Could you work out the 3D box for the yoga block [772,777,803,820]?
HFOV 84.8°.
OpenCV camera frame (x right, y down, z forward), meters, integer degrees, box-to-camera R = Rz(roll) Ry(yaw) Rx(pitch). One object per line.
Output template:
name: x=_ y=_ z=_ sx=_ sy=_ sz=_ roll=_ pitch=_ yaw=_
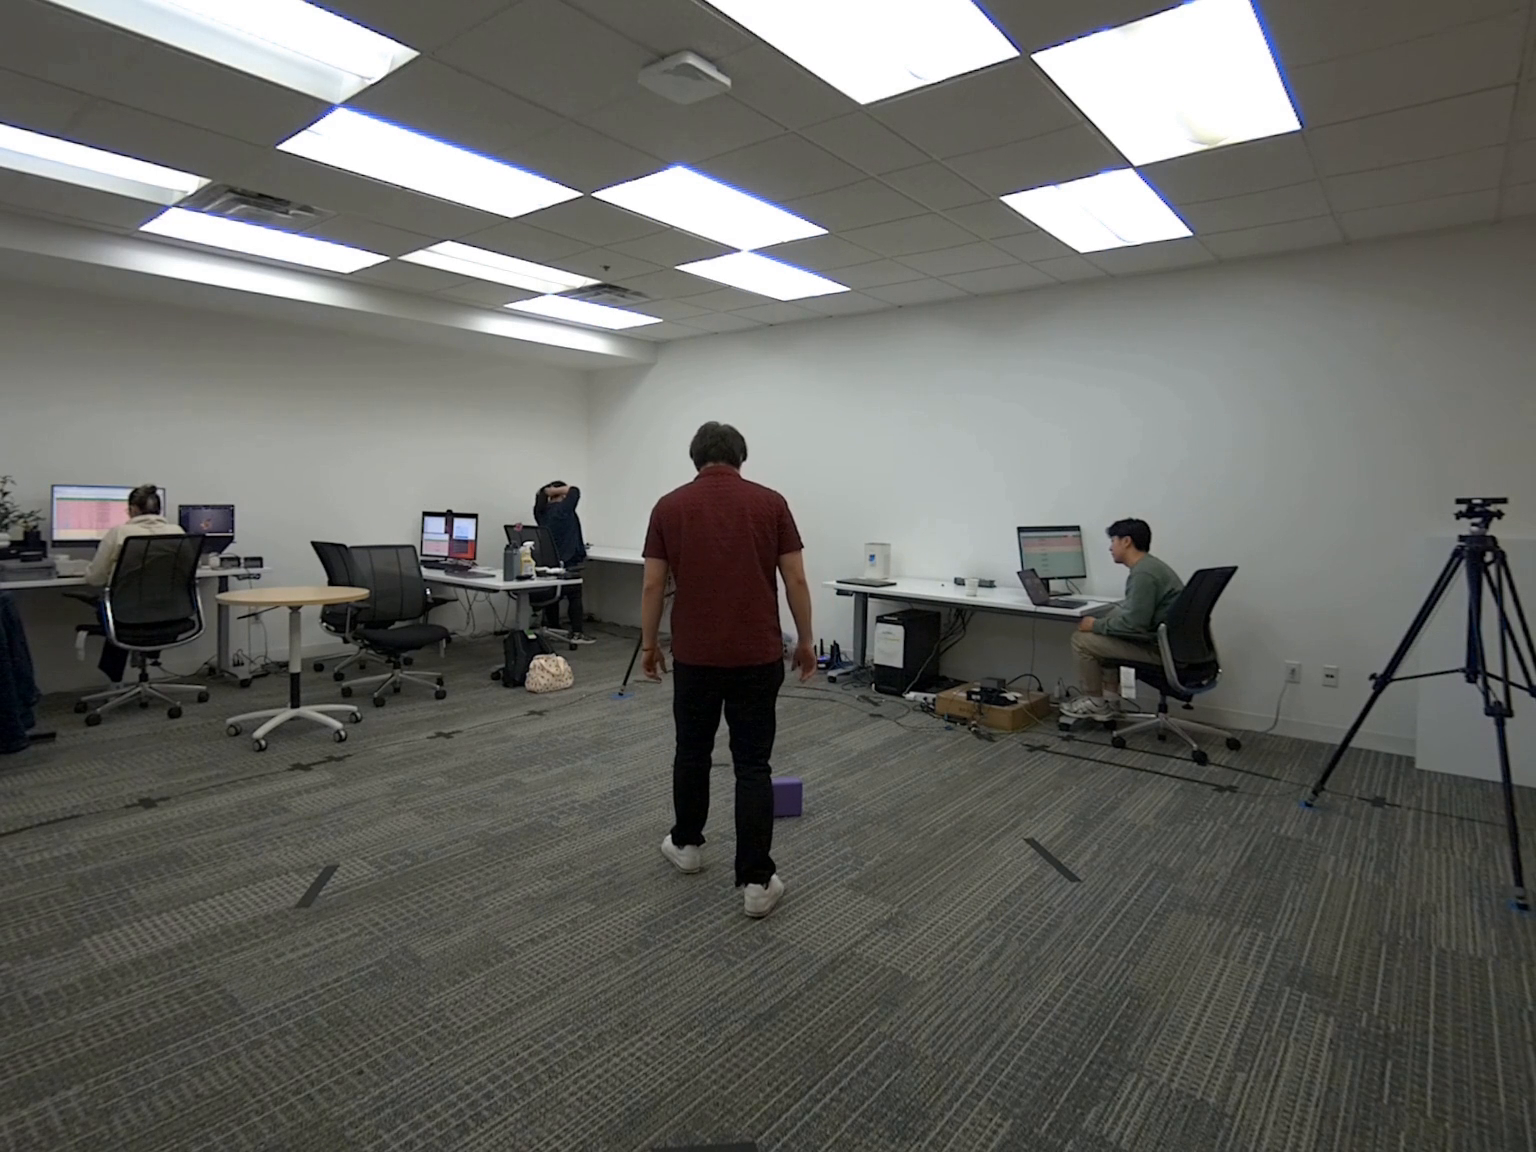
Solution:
yoga block: x=0.026 y=0.943 z=3.650 sx=0.227 sy=0.148 sz=0.077 roll=-1 pitch=3 yaw=-10
